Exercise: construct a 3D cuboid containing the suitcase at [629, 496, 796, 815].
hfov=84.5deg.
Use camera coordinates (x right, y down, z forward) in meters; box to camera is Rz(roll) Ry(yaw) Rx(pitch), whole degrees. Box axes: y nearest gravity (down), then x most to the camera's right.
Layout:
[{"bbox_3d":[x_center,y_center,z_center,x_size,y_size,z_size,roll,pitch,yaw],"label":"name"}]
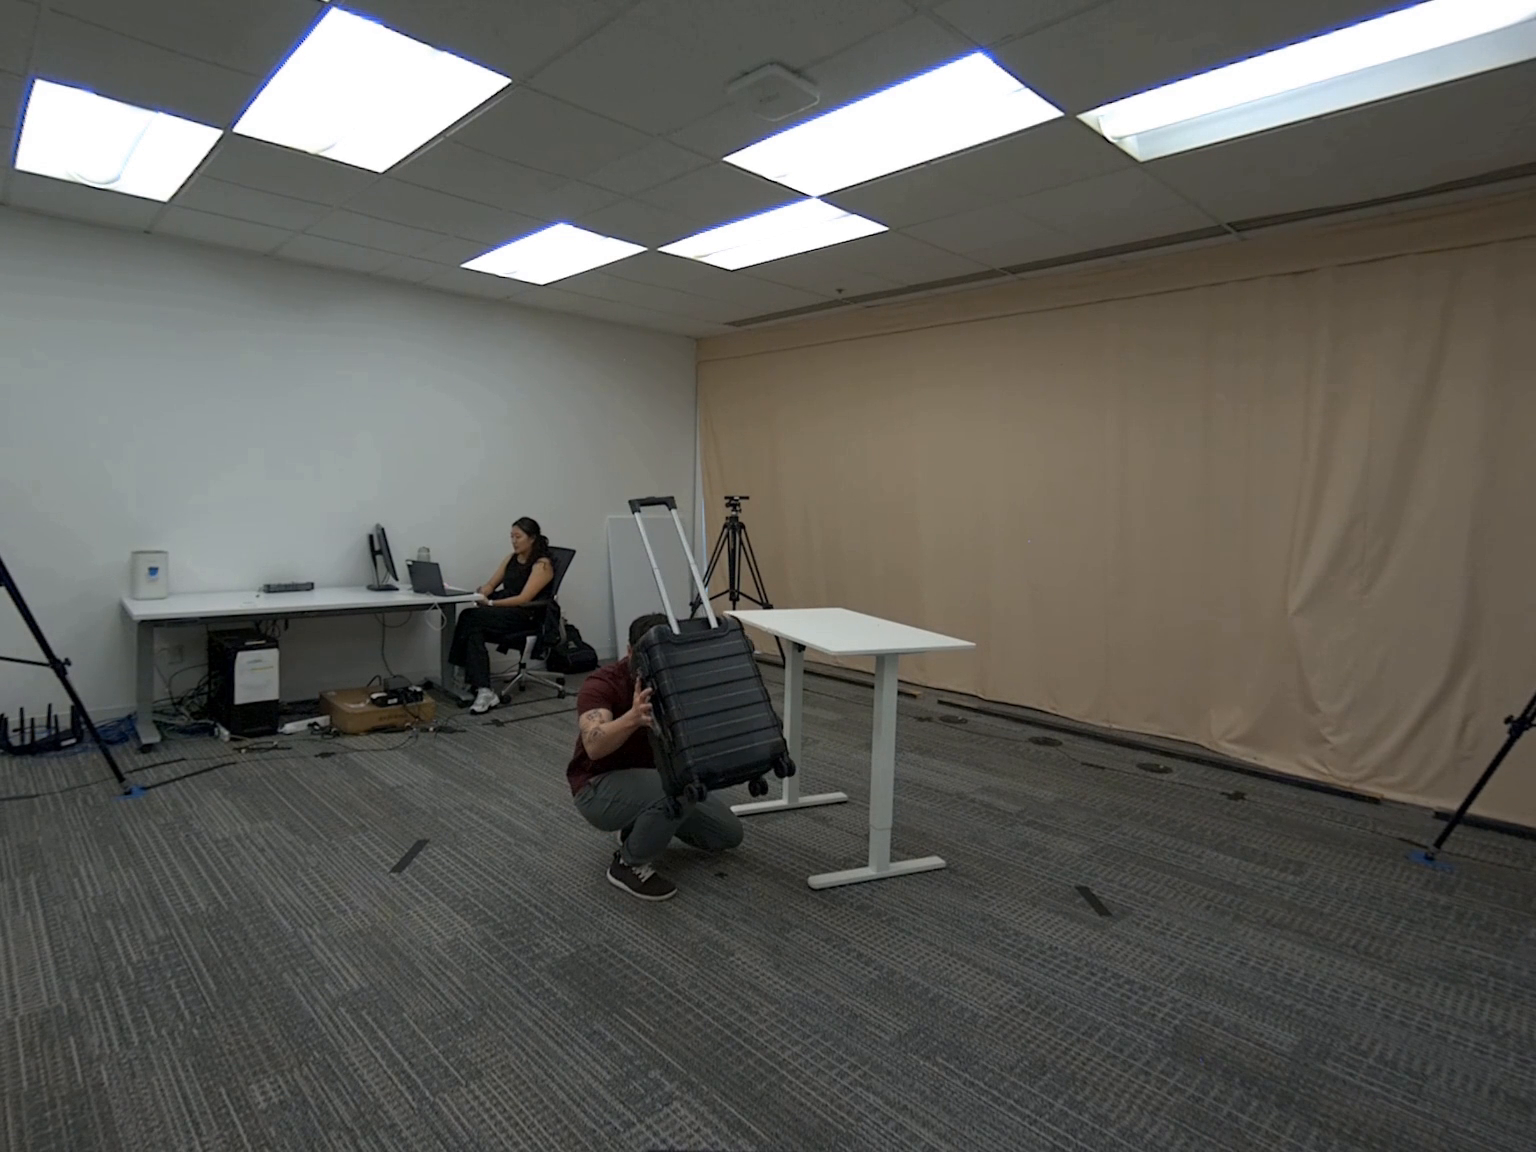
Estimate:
[{"bbox_3d":[-0.266,0.230,2.657,0.378,0.999,0.256,-8,-26,-26],"label":"suitcase"}]
